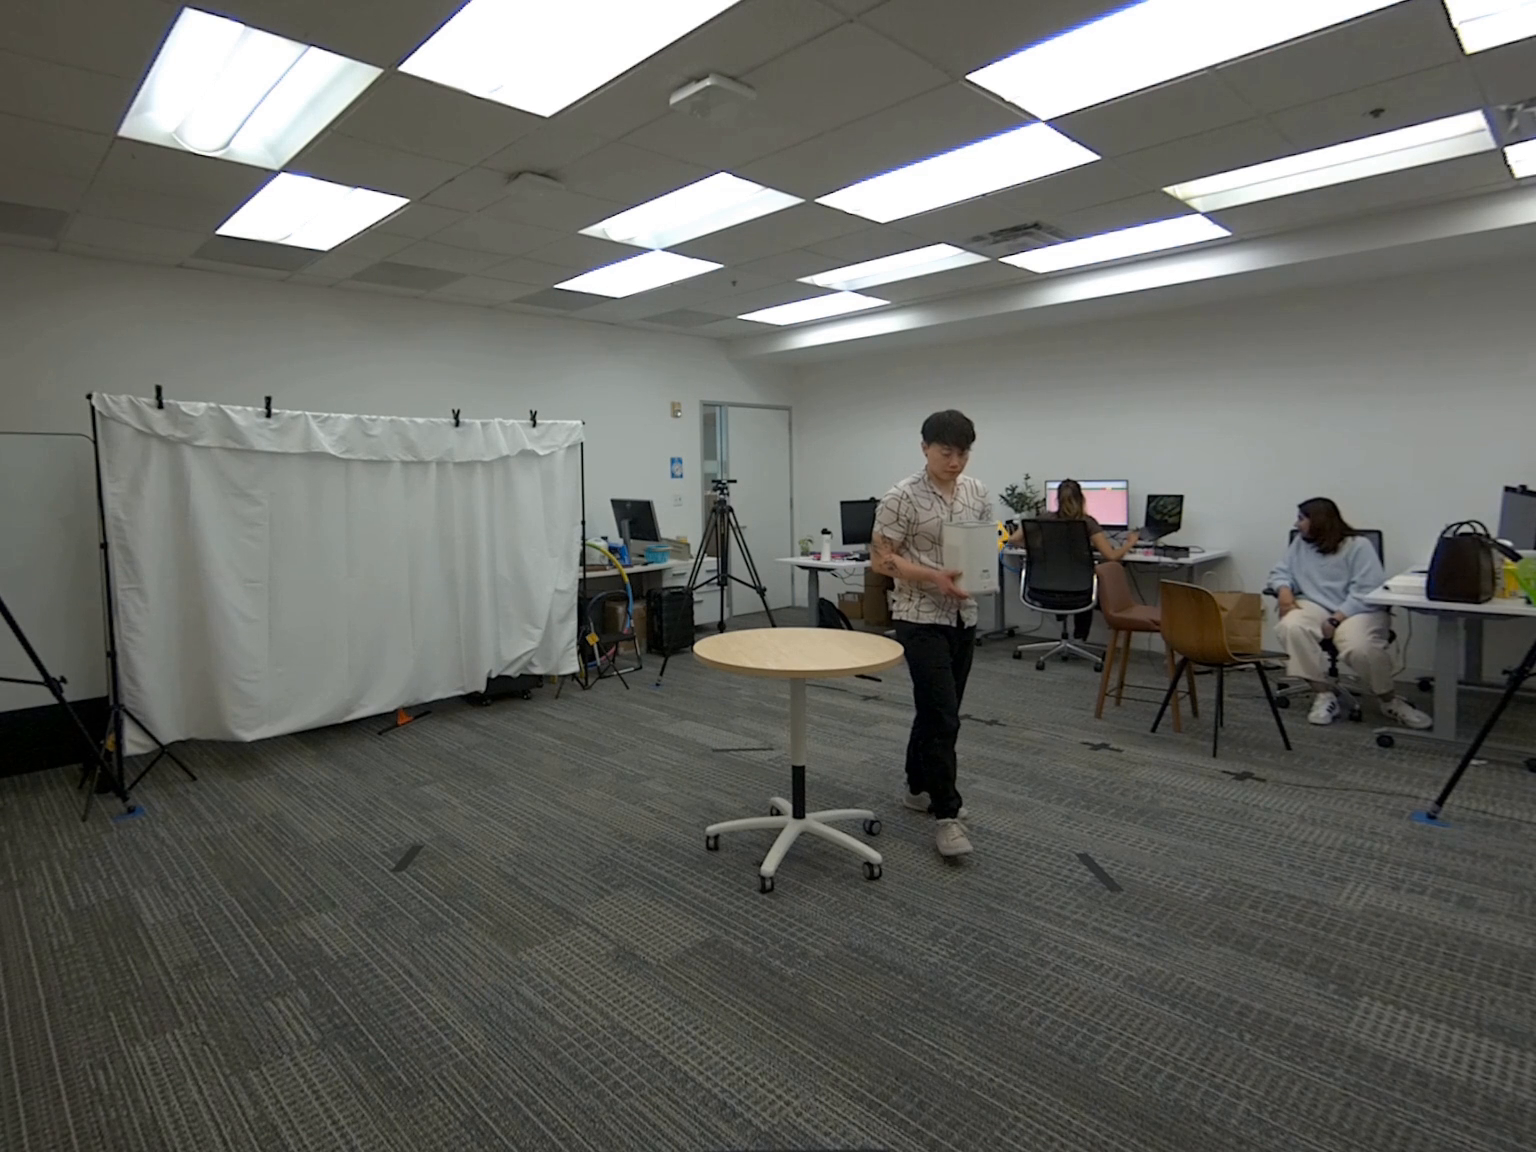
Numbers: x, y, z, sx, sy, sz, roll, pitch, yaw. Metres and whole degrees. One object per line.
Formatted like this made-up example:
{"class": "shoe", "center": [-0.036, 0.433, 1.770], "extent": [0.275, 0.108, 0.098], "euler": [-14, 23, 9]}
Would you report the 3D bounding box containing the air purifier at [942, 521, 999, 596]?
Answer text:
{"class": "air purifier", "center": [0.767, -0.063, 3.213], "extent": [0.168, 0.264, 0.176], "euler": [-2, 5, -23]}
